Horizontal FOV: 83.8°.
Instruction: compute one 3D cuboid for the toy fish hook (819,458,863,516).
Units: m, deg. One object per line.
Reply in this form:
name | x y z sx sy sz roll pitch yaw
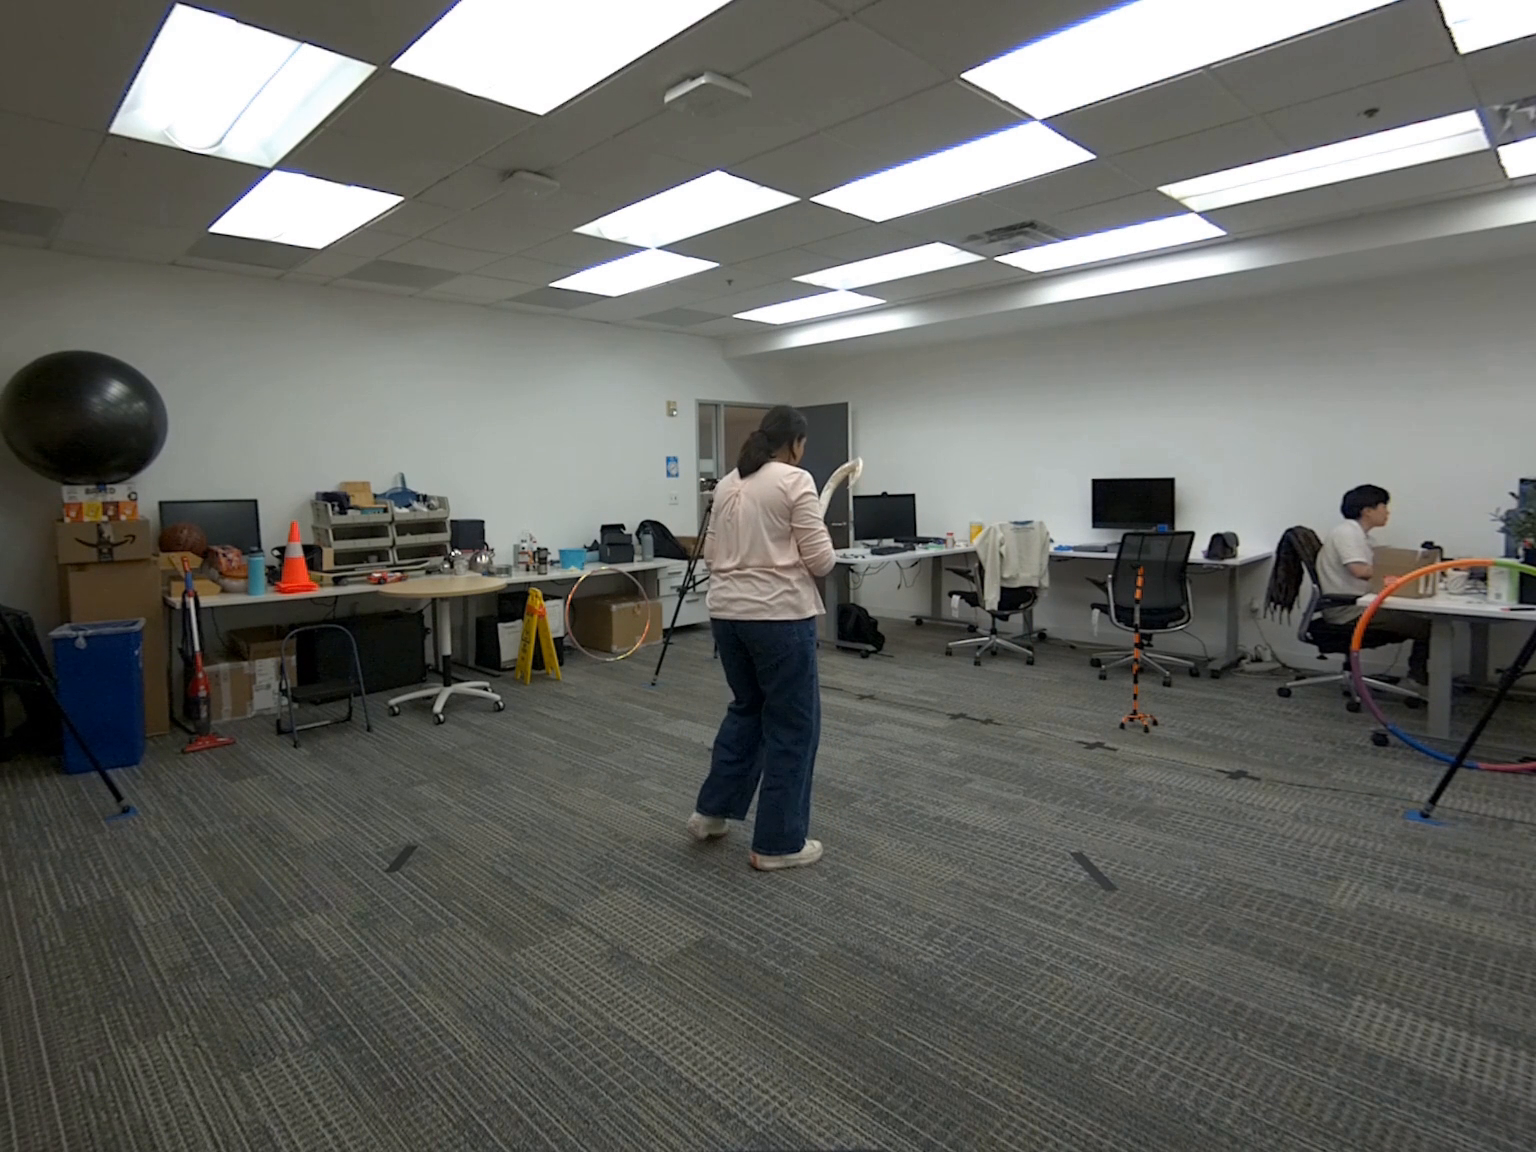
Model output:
toy fish hook | 0.232 -0.267 3.299 0.047 0.510 0.226 36 -28 -14
